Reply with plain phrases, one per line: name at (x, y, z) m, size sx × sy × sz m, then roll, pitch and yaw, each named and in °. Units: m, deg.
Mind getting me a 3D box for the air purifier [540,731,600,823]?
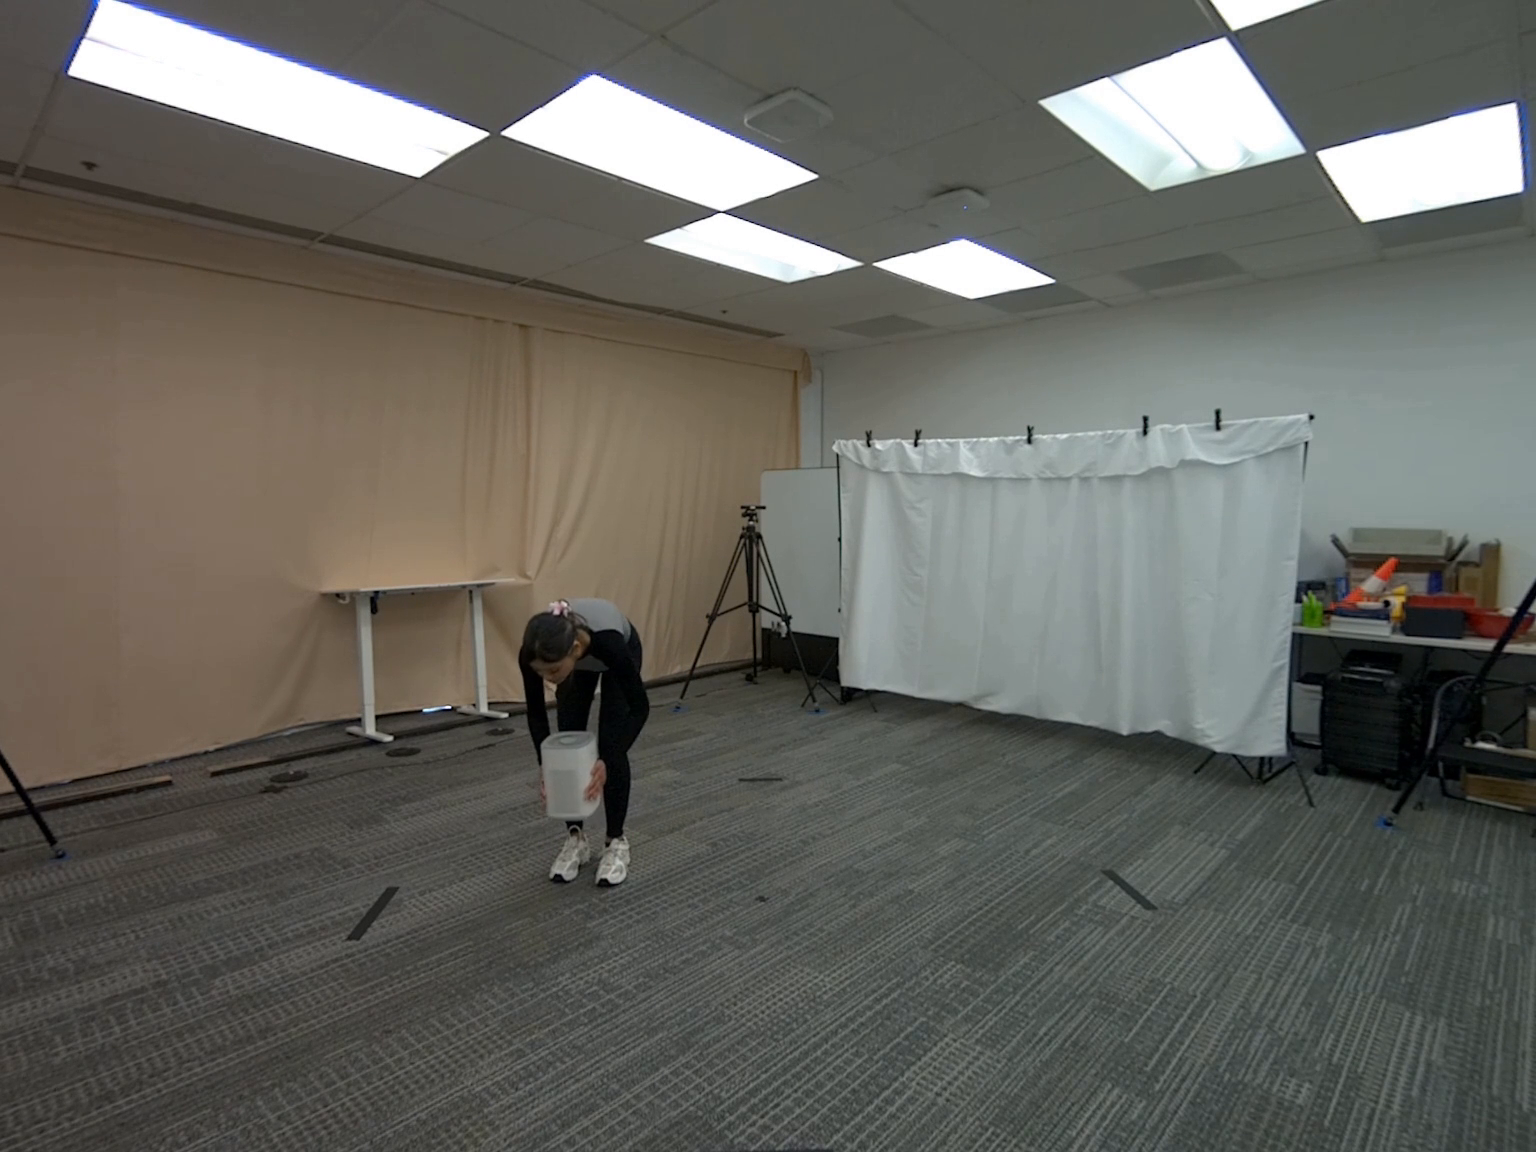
air purifier at (-0.681, 0.686, 2.917) m, size 0.173 × 0.264 × 0.170 m, roll -3°, pitch 7°, yaw 7°
